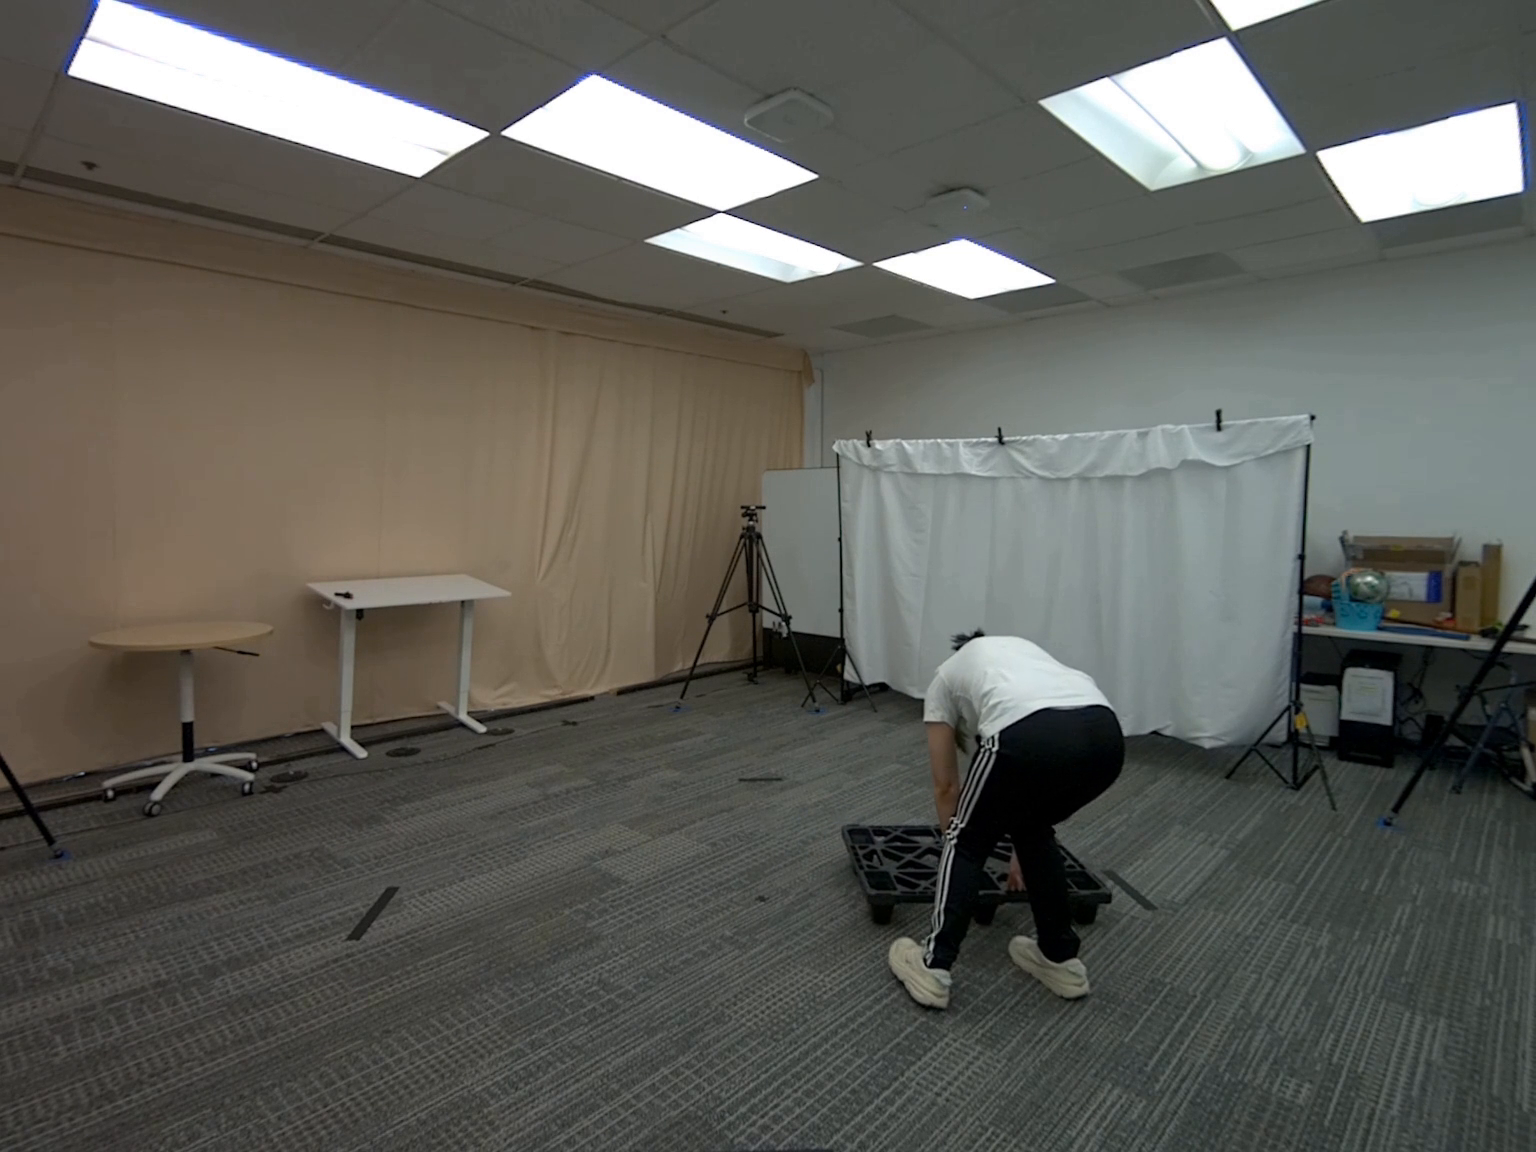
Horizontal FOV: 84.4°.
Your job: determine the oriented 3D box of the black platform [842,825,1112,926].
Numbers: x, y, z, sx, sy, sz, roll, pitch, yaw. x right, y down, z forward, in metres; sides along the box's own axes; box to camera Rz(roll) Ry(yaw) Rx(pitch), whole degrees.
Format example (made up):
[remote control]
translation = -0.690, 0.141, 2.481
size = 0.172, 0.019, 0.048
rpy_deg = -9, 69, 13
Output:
[black platform]
translation = 0.713, 1.068, 3.018
size = 0.805, 0.143, 0.607
rpy_deg = 0, 5, -1
